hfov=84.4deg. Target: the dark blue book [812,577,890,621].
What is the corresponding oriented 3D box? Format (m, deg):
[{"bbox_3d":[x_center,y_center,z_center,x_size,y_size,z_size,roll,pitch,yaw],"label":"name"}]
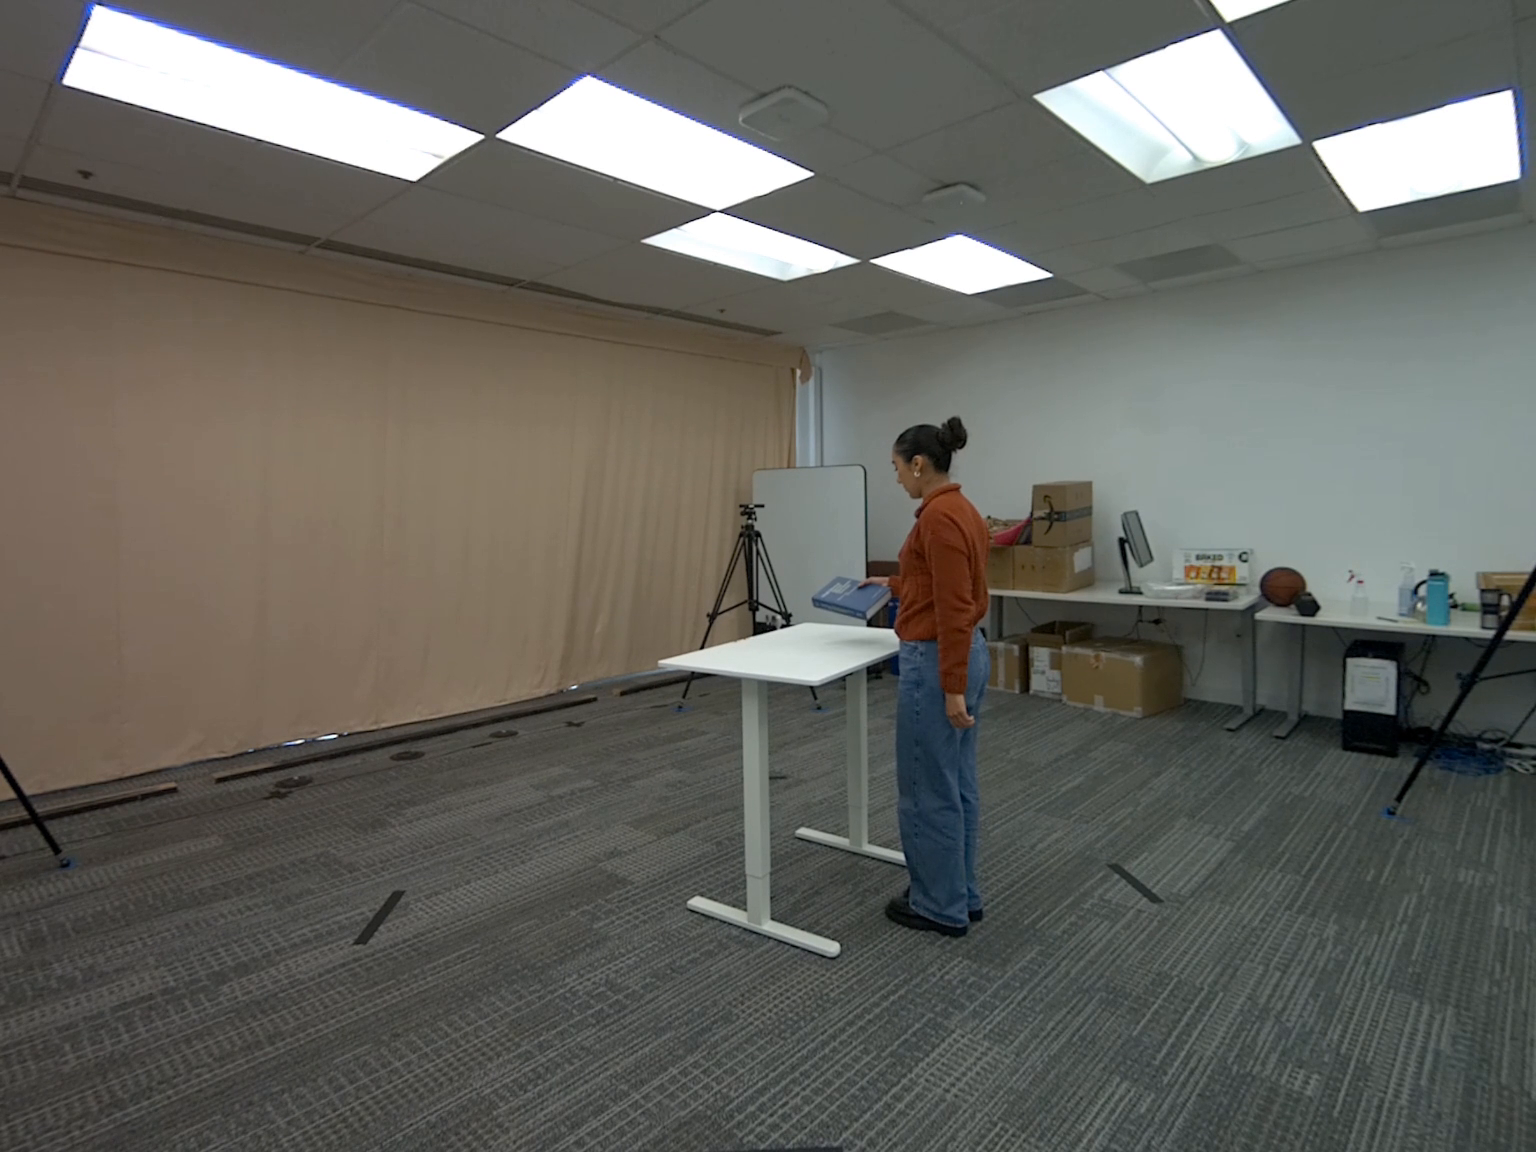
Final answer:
[{"bbox_3d":[0.318,0.079,3.045,0.161,0.044,0.254,-35,32,-33],"label":"dark blue book"}]
